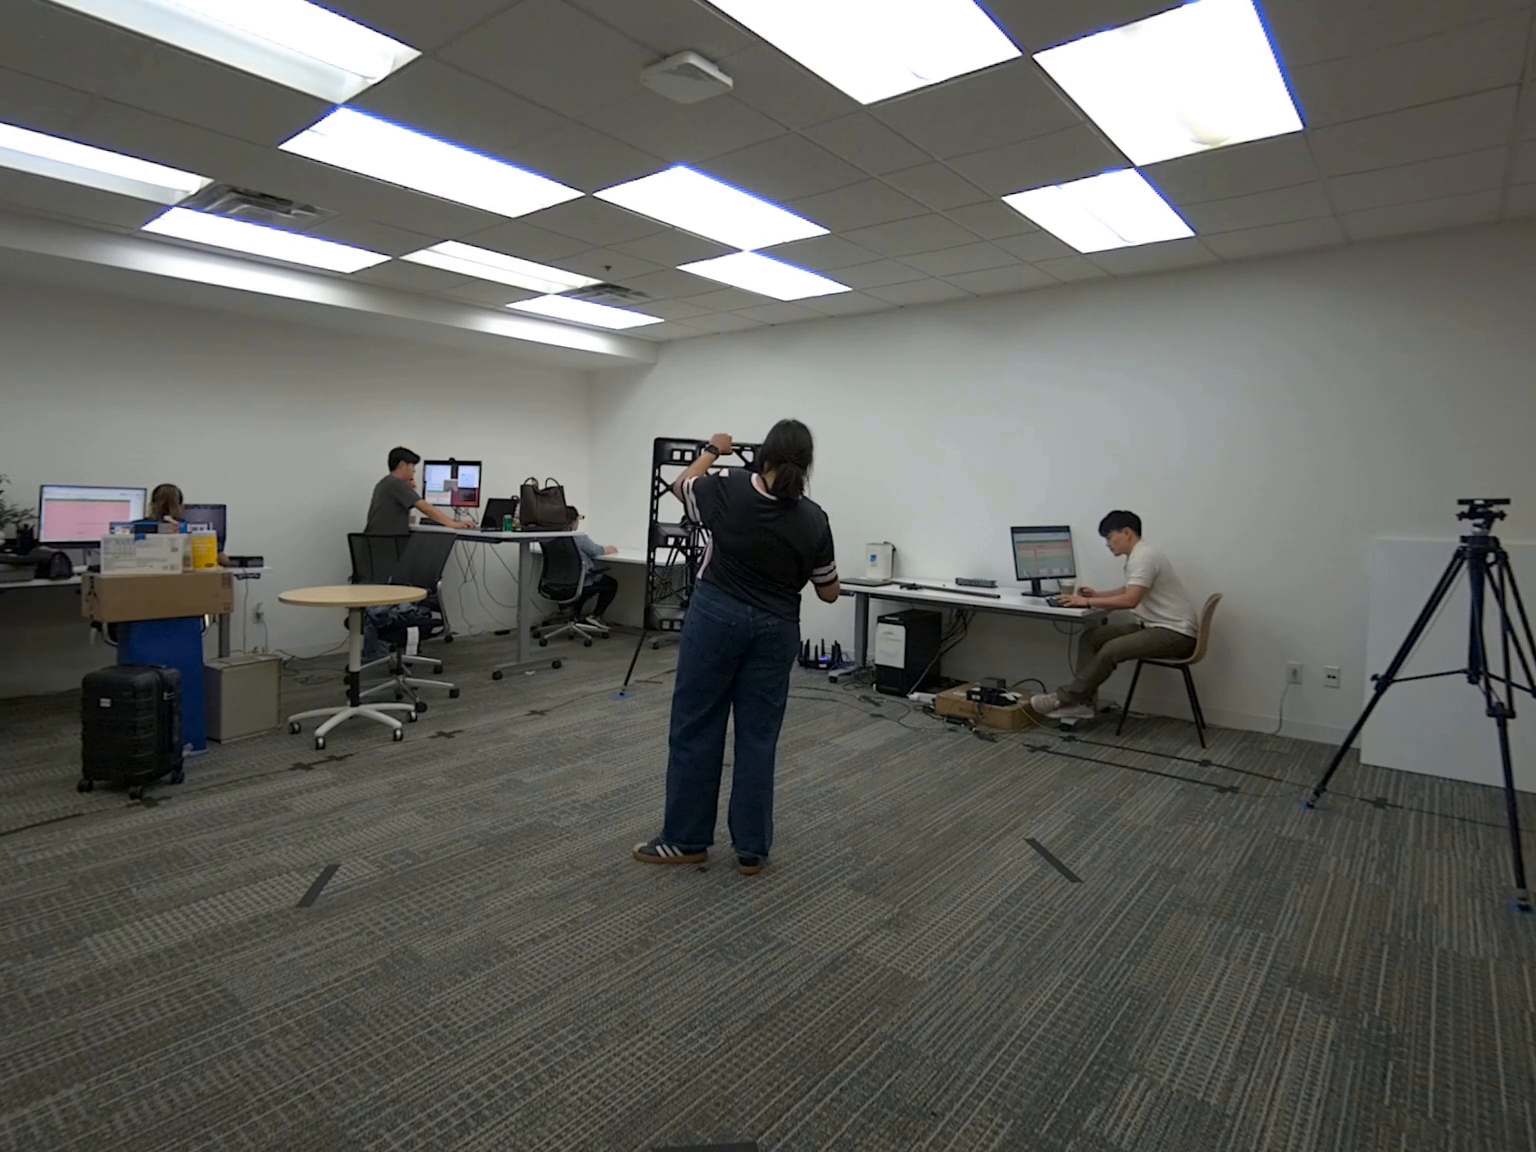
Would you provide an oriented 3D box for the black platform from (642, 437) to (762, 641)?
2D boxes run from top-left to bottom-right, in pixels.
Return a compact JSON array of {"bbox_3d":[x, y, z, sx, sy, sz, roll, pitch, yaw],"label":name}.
[{"bbox_3d":[-0.191,-0.141,3.437,0.601,0.798,0.145,3,10,-5],"label":"black platform"}]
